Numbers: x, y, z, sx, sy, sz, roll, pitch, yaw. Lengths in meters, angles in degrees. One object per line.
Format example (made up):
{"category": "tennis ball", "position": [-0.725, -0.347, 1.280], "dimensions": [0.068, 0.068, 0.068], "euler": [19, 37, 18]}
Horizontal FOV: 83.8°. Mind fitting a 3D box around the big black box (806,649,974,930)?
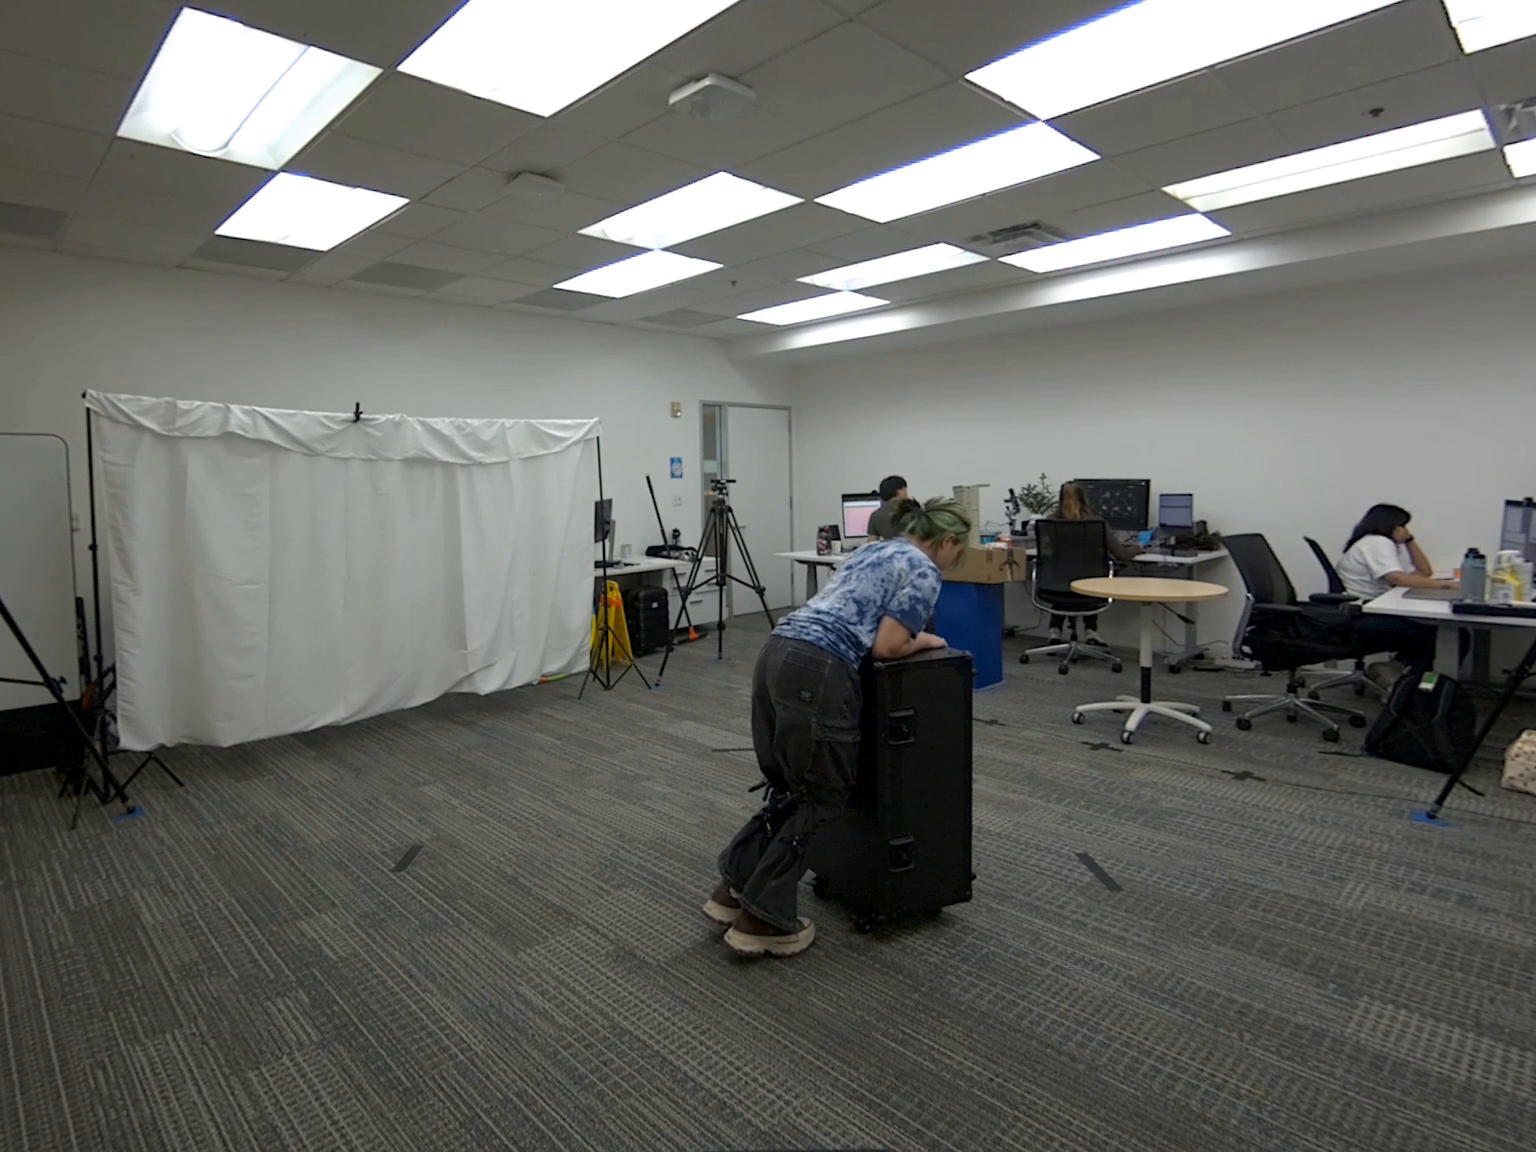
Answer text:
{"category": "big black box", "position": [0.387, 0.595, 2.797], "dimensions": [0.388, 0.859, 0.534], "euler": [-2, 4, -26]}
